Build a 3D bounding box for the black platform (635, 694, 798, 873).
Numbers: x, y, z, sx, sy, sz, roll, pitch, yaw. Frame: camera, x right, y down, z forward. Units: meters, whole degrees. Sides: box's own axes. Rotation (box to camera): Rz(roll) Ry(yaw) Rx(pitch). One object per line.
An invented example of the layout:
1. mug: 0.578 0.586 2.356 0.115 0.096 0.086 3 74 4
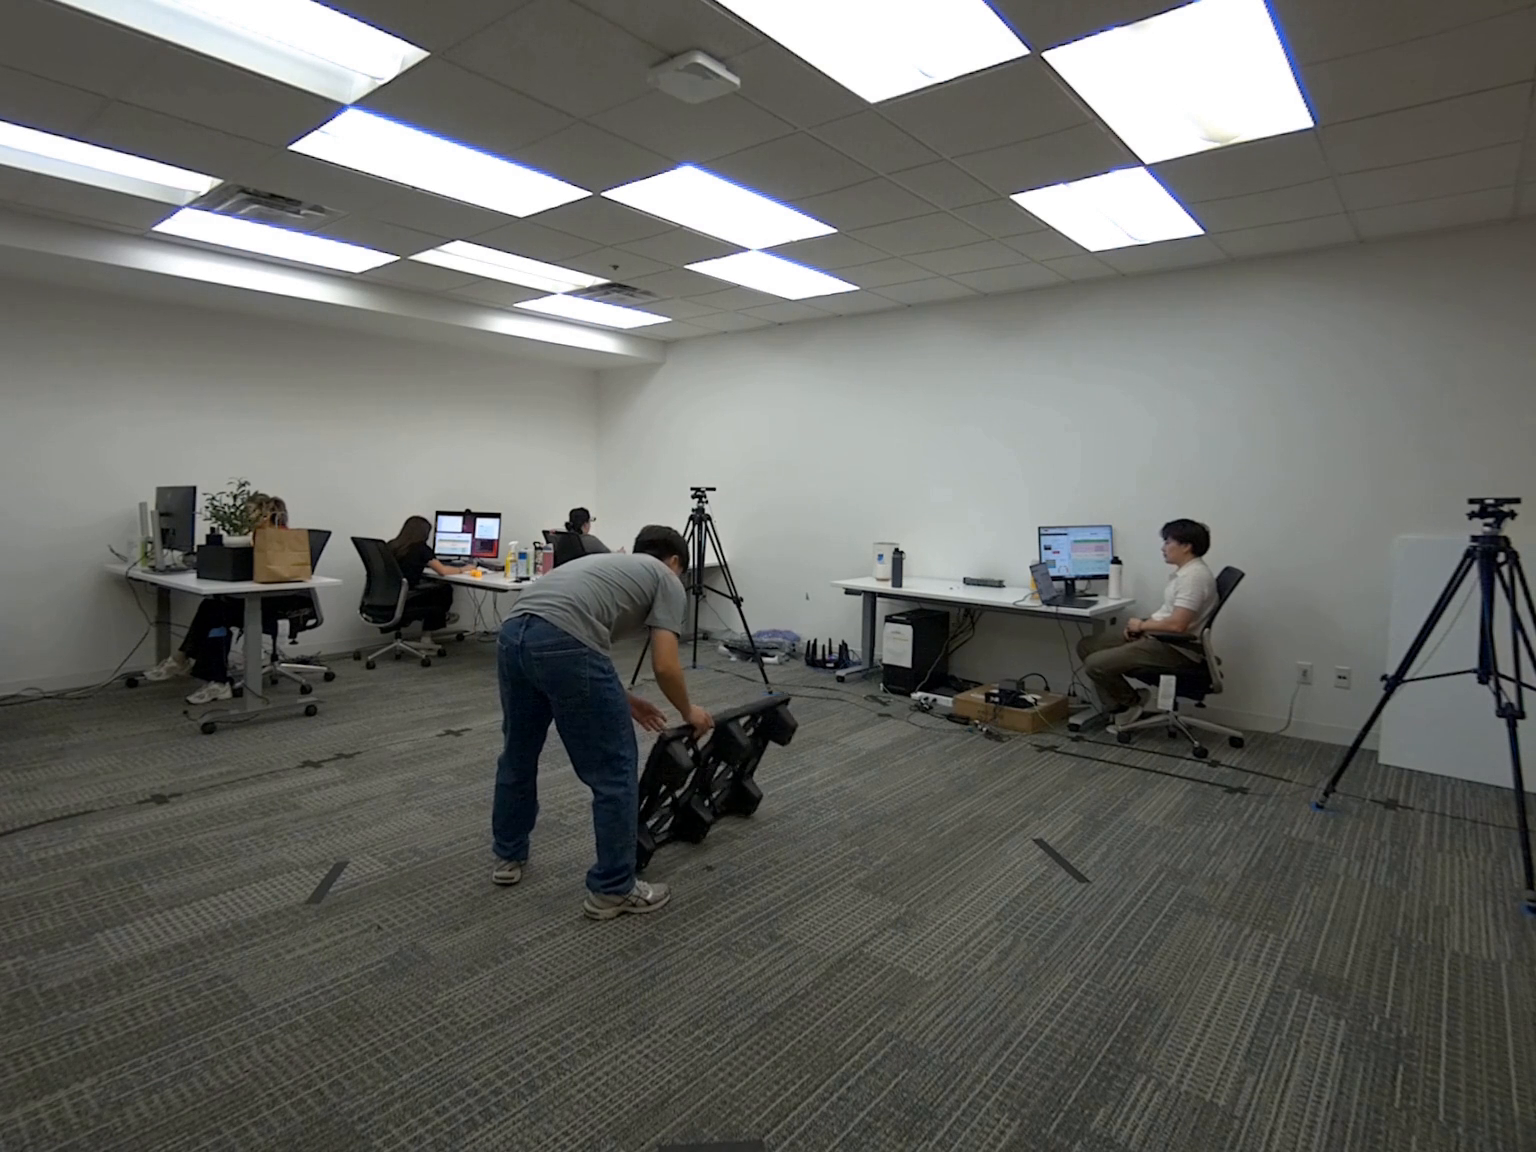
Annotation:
1. black platform: -0.222 0.794 3.295 0.148 0.600 0.783 34 22 28
